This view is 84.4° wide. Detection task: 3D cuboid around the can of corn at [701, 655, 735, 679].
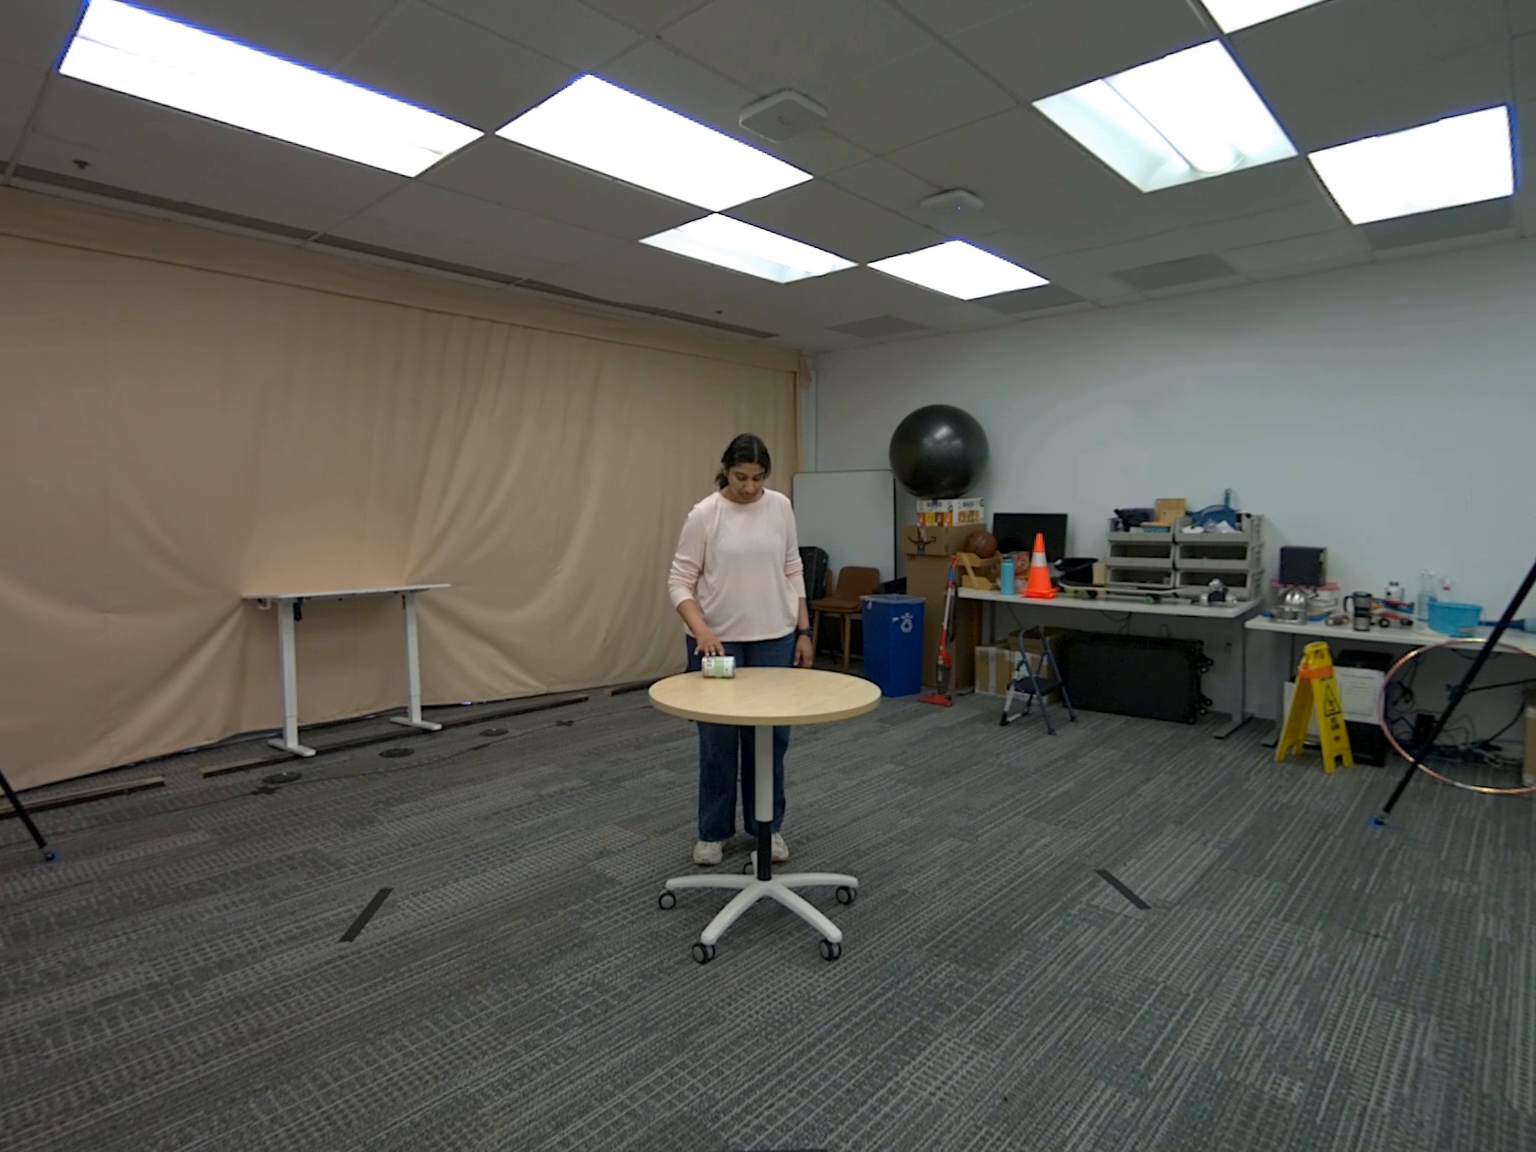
[{"bbox_3d":[-0.177,0.321,2.995,0.111,0.074,0.074,-3,4,0],"label":"can of corn"}]
